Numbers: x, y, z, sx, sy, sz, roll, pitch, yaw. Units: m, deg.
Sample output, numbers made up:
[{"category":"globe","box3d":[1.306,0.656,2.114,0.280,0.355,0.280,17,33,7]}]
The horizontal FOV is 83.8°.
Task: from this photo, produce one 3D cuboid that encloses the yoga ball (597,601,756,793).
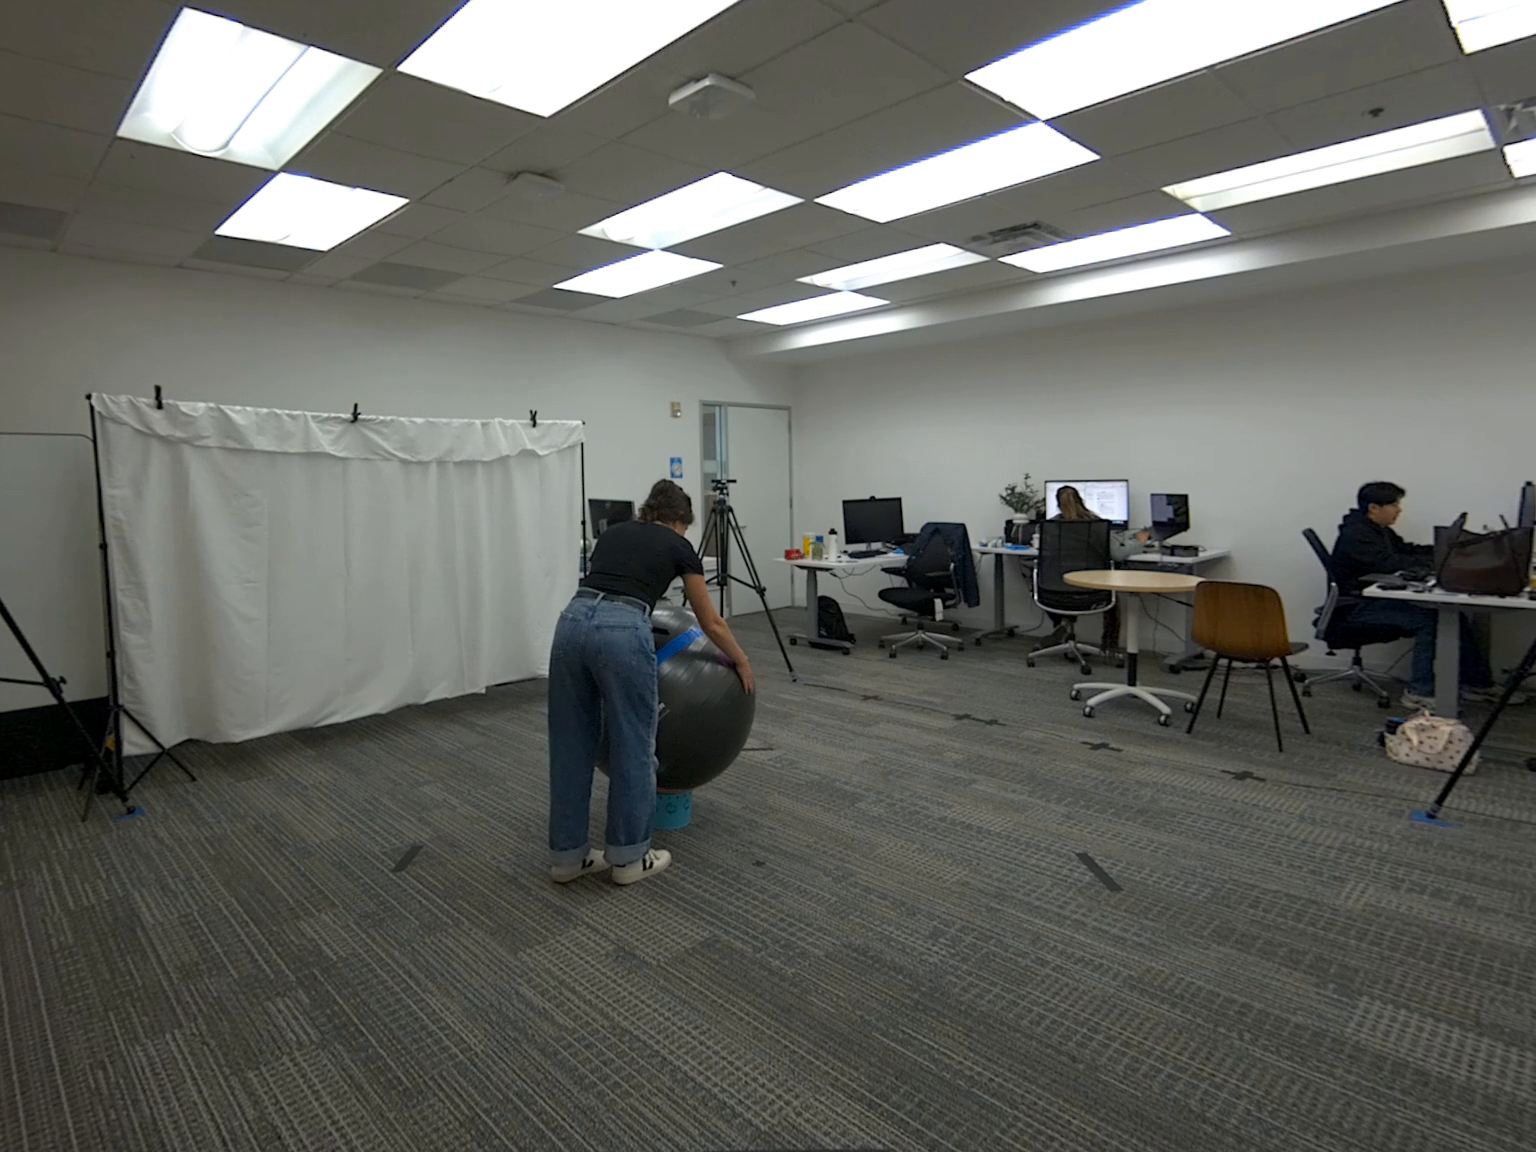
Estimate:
[{"category":"yoga ball","box3d":[-0.430,0.506,3.496,0.757,0.755,0.762,-1,5,-2]}]
